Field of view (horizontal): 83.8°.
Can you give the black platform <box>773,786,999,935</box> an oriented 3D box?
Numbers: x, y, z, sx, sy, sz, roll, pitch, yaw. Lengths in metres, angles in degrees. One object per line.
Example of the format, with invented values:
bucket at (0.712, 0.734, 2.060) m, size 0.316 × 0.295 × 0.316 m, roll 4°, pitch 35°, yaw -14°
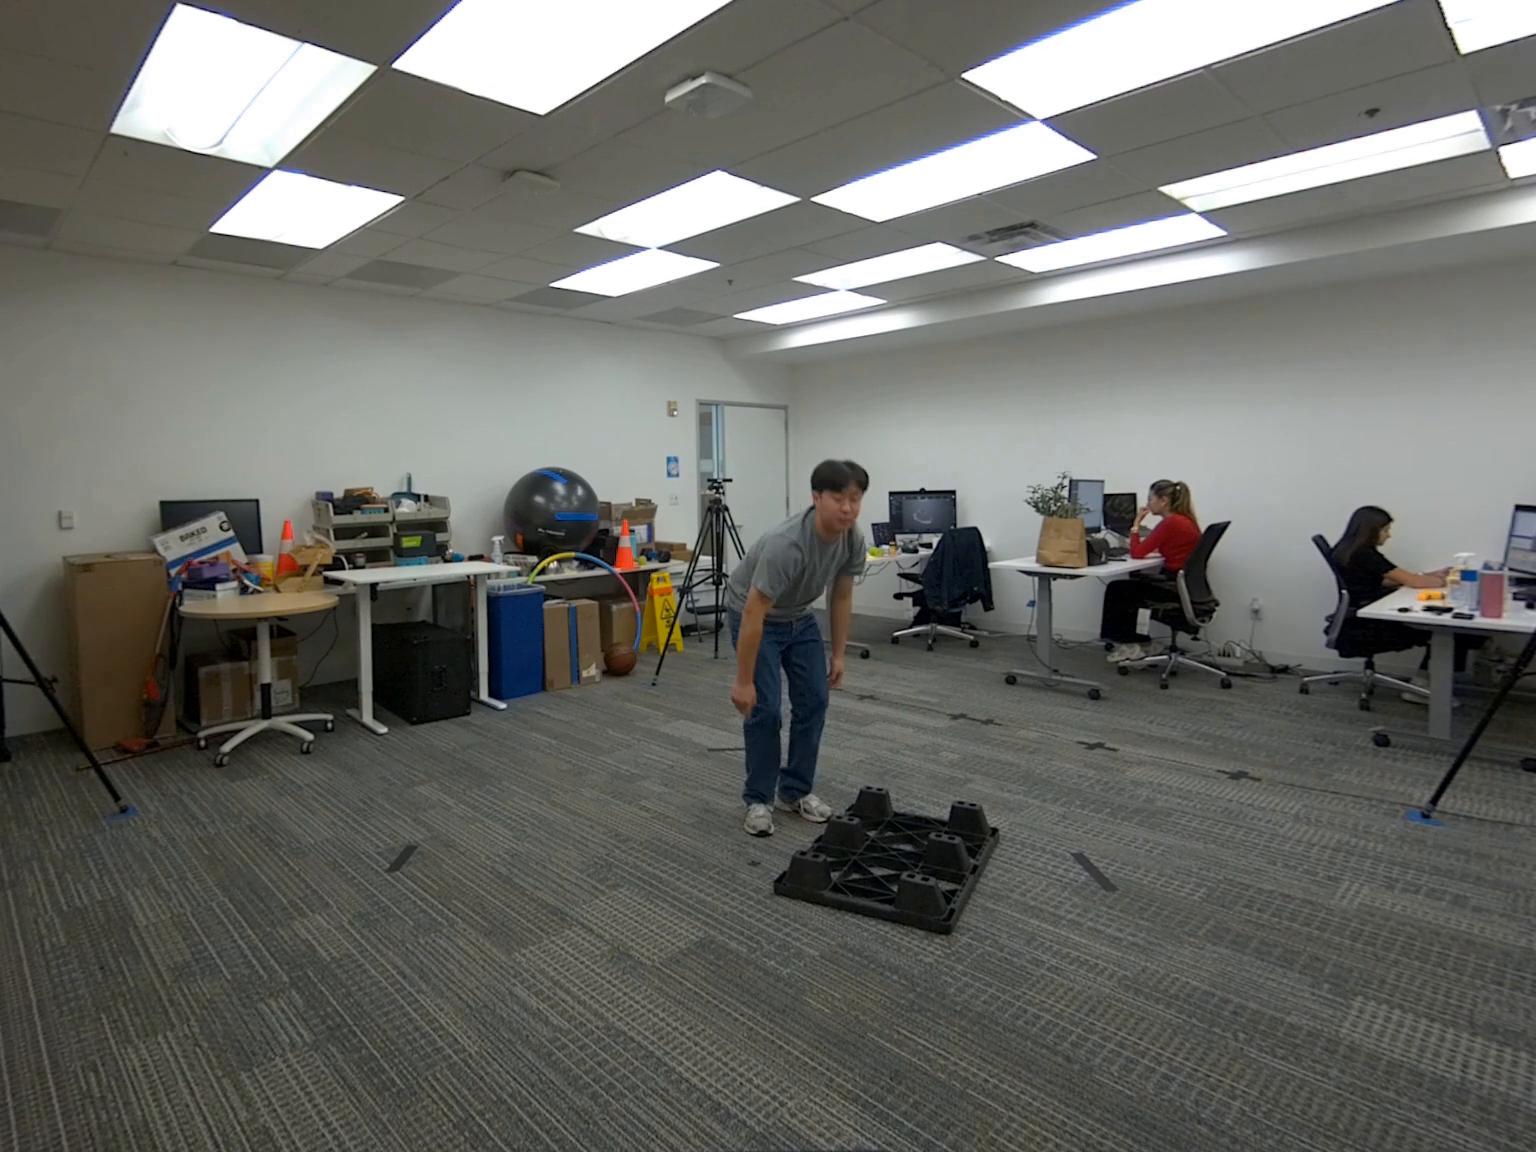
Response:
black platform at (0.458, 0.975, 3.067) m, size 0.620 × 0.142 × 0.790 m, roll 2°, pitch 7°, yaw 26°
